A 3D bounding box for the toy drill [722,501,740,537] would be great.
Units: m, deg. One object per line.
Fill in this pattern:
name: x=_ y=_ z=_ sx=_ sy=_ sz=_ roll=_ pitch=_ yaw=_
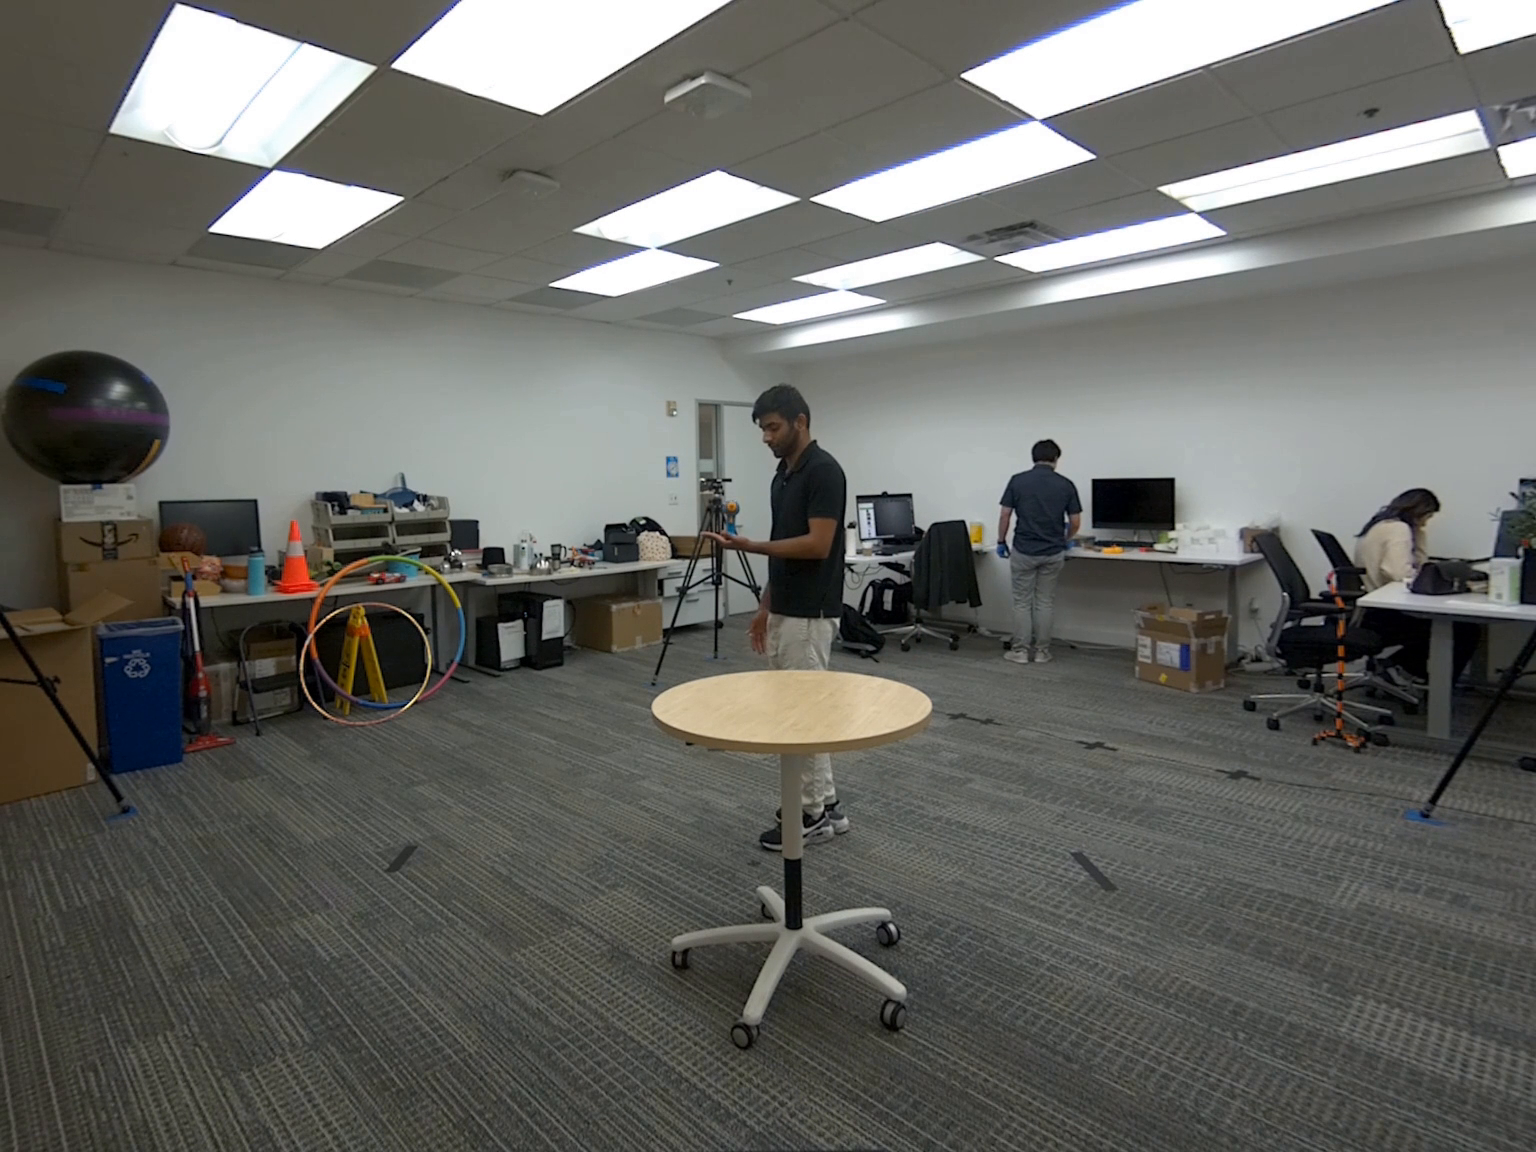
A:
toy drill: x=-0.130 y=-0.215 z=3.061 sx=0.061 sy=0.148 sz=0.168 roll=6 pitch=-15 yaw=-2
